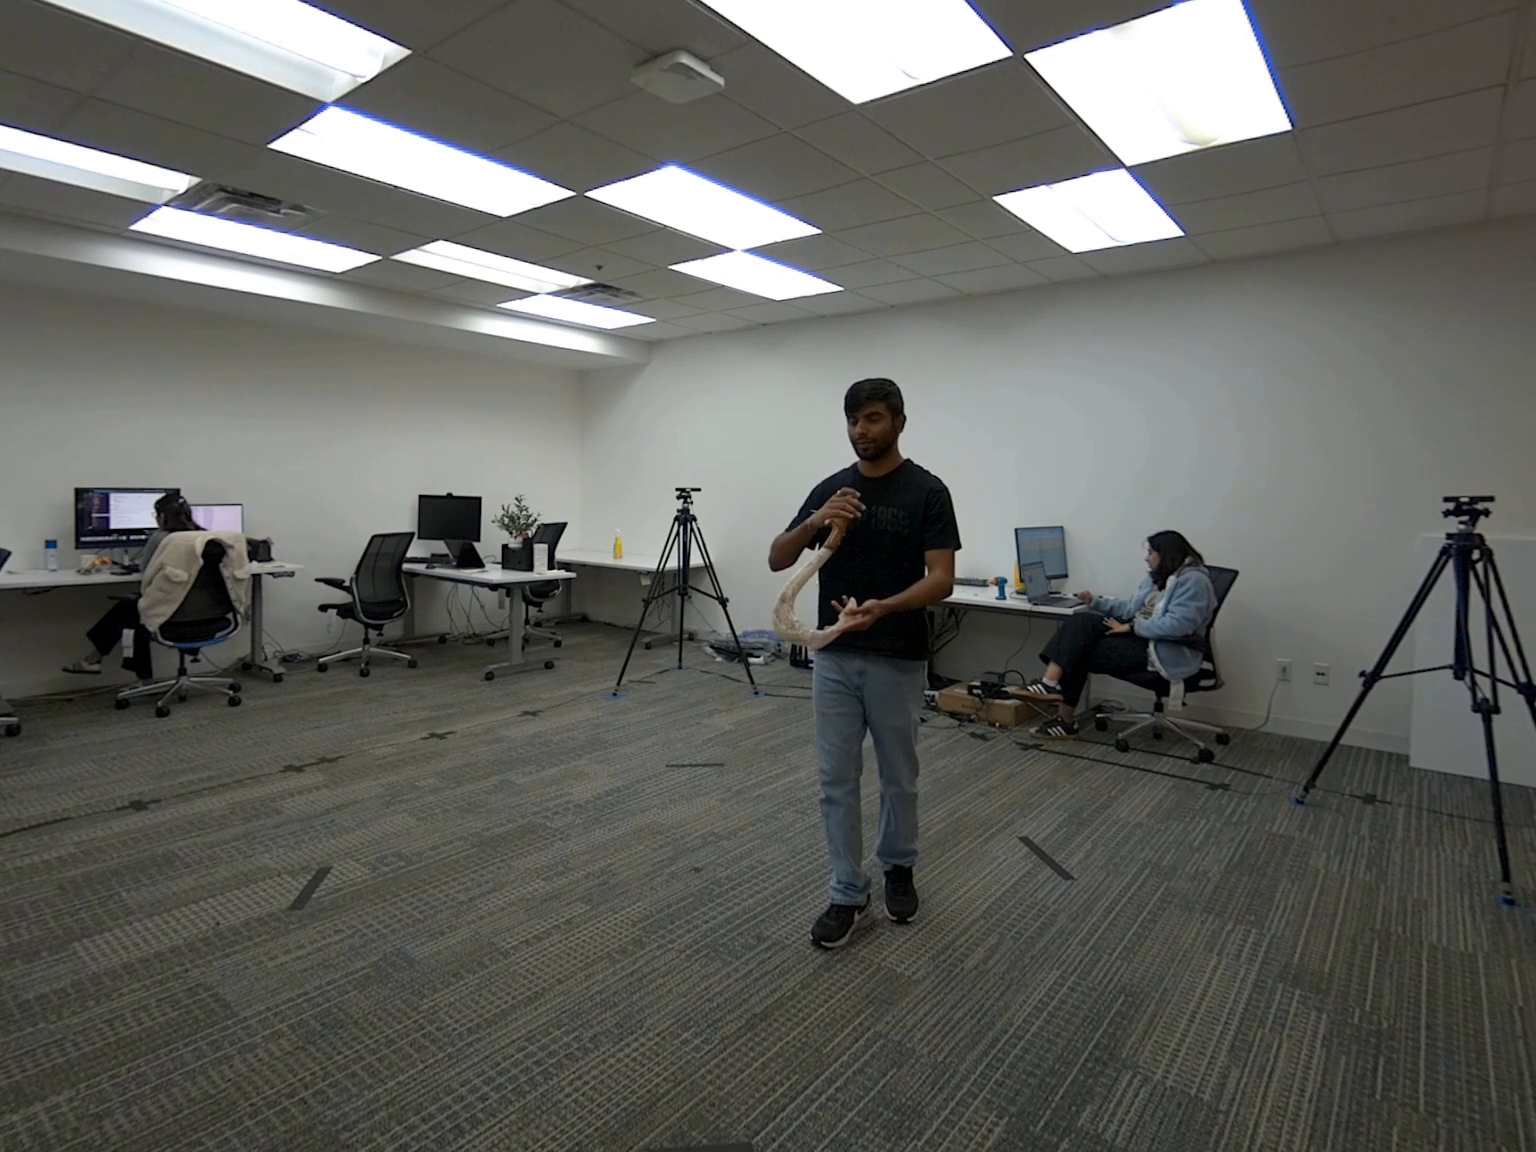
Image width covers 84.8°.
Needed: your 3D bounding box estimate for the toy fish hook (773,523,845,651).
[{"bbox_3d":[0.190,-0.023,2.436,0.230,0.511,0.047,15,-24,18],"label":"toy fish hook"}]
